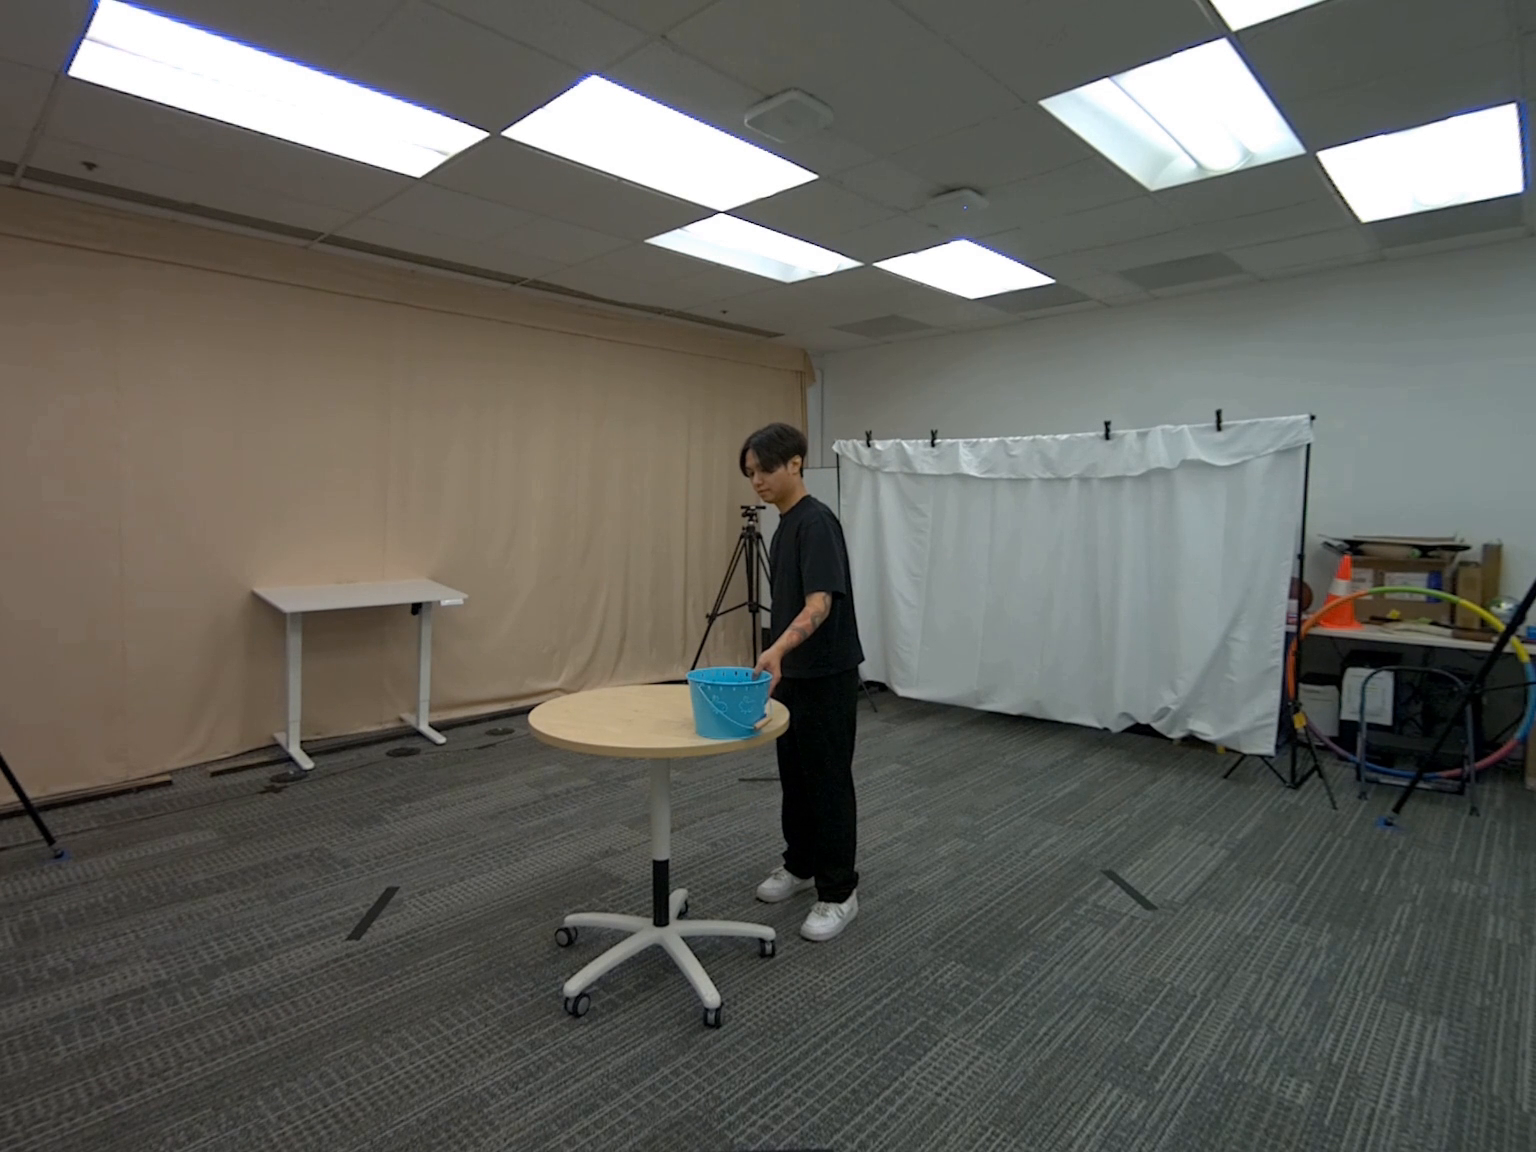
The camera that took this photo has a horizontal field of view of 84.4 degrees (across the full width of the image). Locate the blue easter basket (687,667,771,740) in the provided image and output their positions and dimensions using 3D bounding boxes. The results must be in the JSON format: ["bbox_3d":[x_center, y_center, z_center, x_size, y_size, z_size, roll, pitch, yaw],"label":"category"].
[{"bbox_3d":[-0.106,0.353,2.245,0.243,0.155,0.244,0,3,-2],"label":"blue easter basket"}]
